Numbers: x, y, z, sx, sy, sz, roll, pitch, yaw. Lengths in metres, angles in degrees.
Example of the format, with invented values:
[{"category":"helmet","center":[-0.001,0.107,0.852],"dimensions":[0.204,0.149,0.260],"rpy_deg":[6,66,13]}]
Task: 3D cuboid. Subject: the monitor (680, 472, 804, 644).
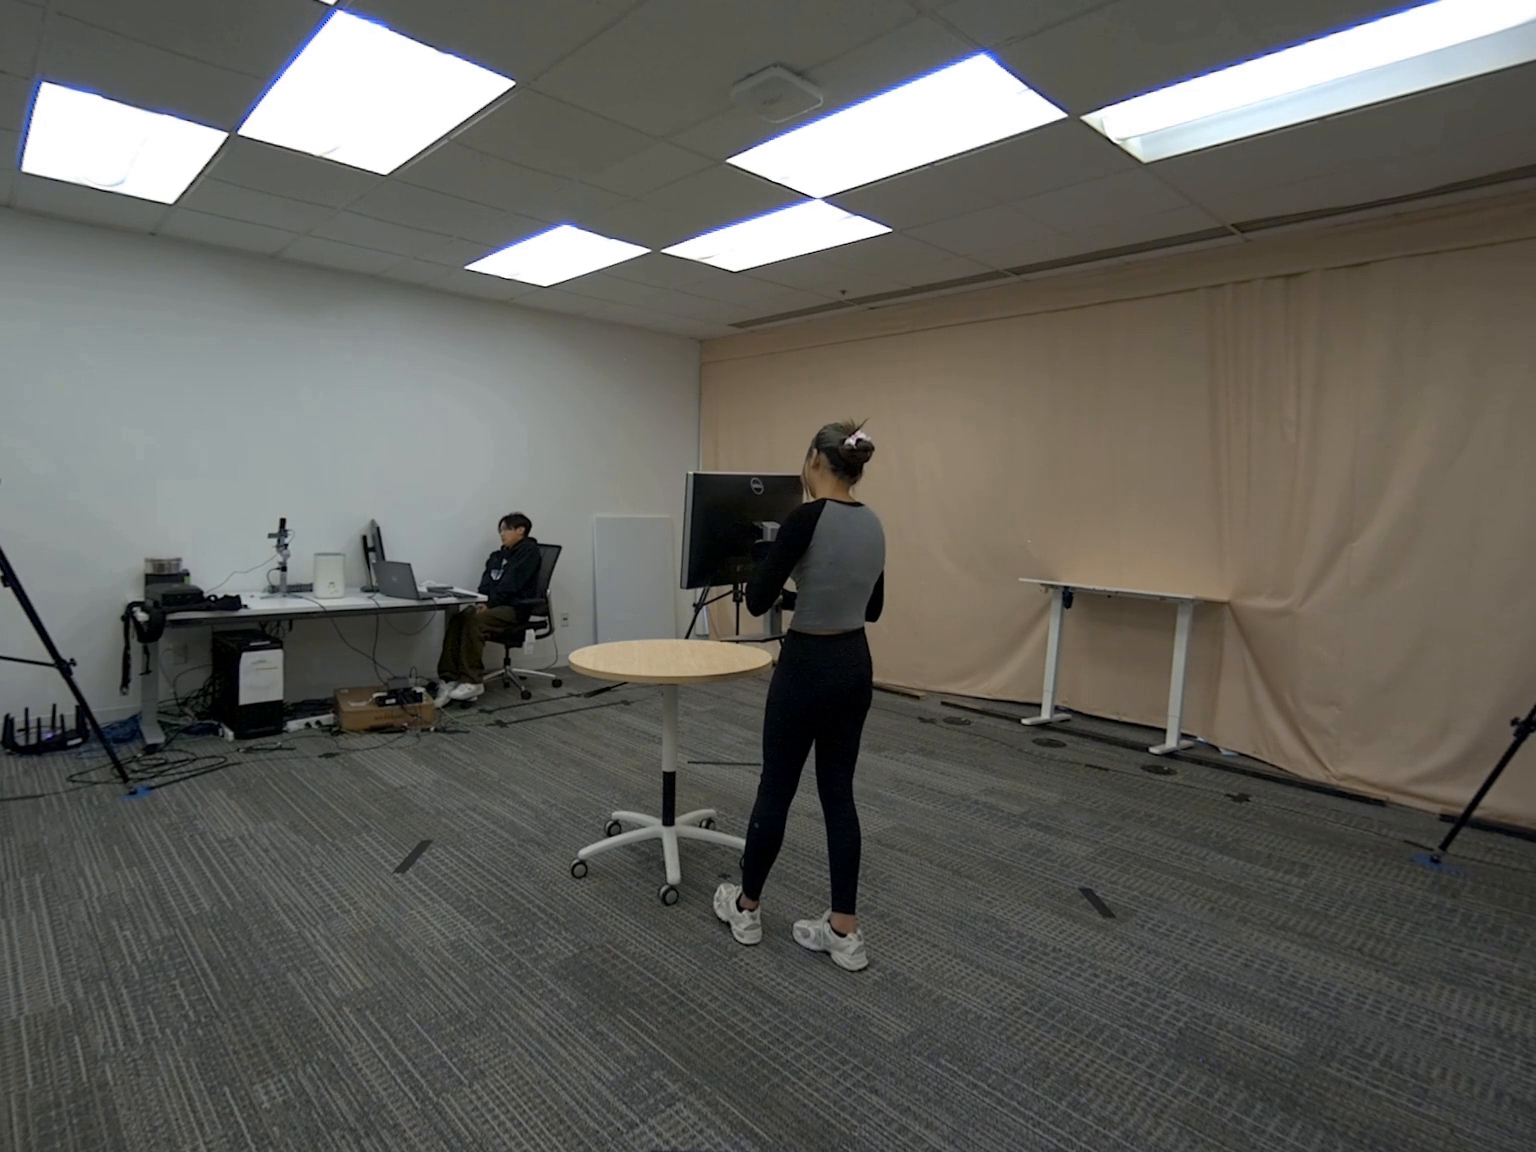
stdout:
[{"category":"monitor","center":[-0.045,-0.067,2.740],"dimensions":[0.191,0.523,0.527],"rpy_deg":[-6,-1,40]}]
